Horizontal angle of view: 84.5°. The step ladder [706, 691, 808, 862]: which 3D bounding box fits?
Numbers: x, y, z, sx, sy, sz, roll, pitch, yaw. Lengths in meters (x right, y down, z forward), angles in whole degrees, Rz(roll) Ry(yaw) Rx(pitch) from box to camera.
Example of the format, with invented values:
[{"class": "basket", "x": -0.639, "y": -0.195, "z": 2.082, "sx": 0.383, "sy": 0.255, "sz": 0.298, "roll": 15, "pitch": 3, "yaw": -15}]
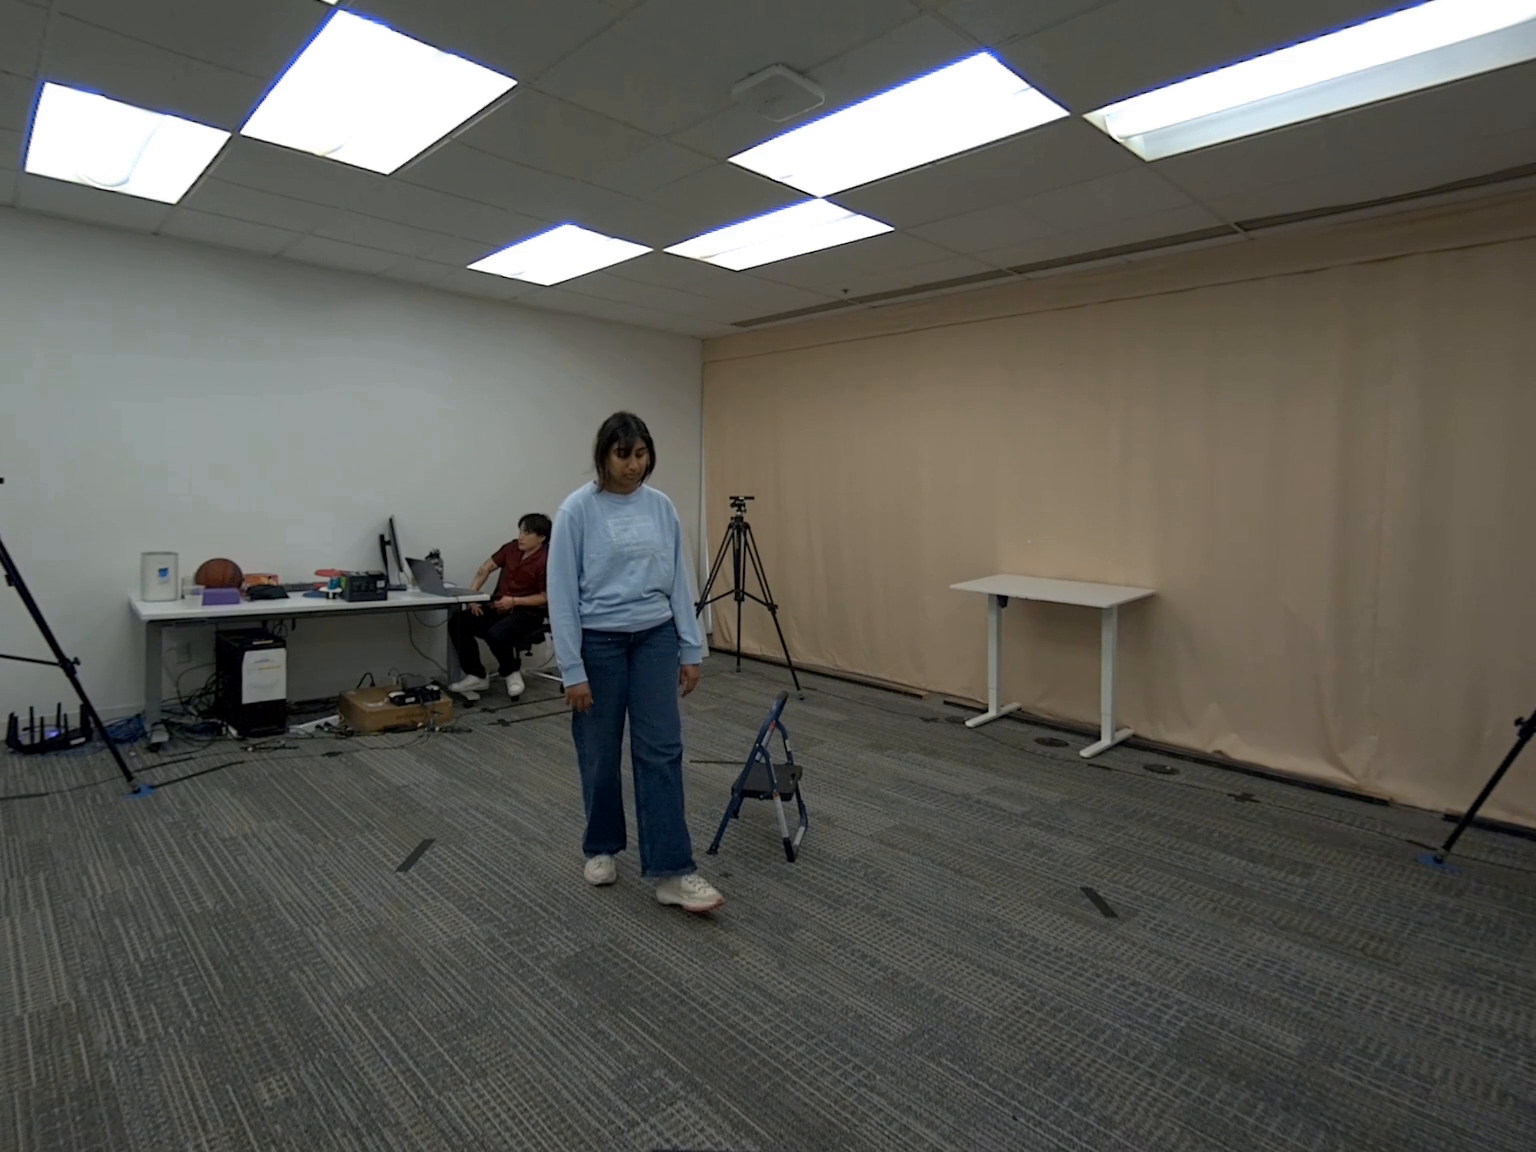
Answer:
[{"class": "step ladder", "x": -0.028, "y": 0.775, "z": 3.442, "sx": 0.353, "sy": 0.605, "sz": 0.427, "roll": 2, "pitch": 3, "yaw": 11}]
